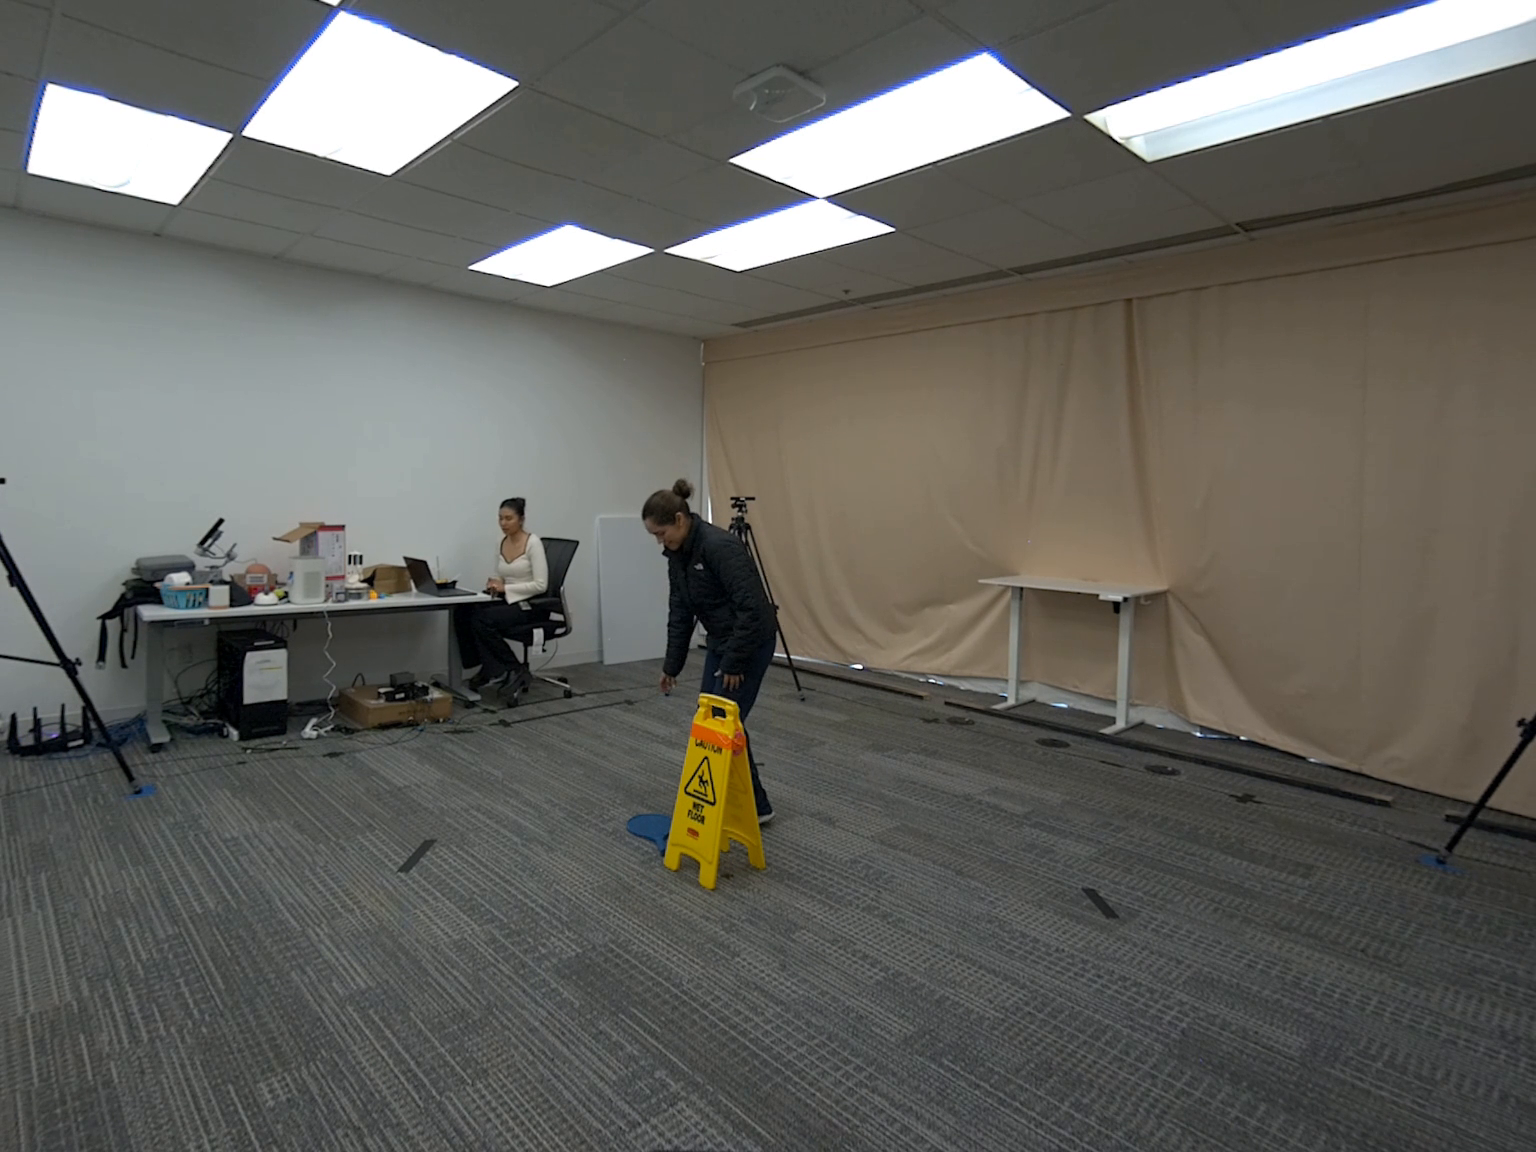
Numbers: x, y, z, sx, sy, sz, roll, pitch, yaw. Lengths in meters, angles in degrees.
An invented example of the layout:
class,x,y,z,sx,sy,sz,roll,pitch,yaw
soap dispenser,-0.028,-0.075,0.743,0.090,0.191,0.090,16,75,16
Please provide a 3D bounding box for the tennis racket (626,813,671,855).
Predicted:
class,x,y,z,sx,sy,sz,roll,pitch,yaw
tennis racket,-0.466,1.046,3.440,0.211,0.032,0.438,-1,5,-14
